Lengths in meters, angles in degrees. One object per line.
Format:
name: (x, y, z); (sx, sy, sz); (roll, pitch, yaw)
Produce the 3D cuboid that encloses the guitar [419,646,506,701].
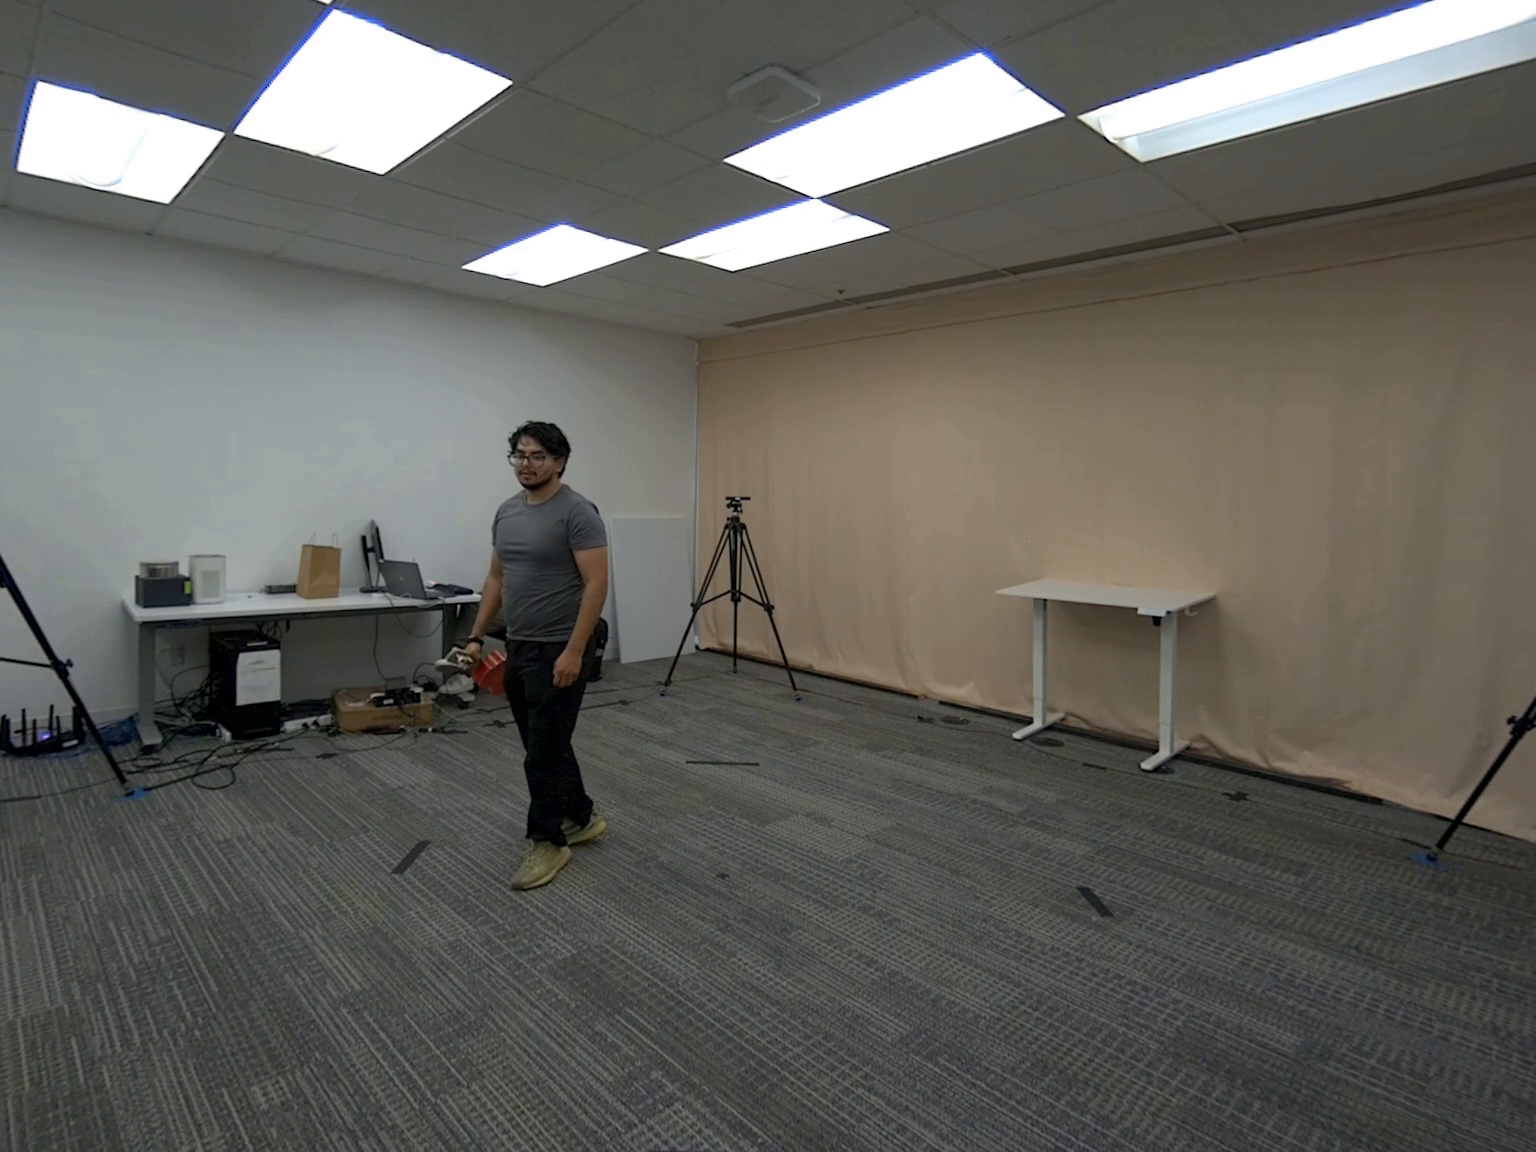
guitar: (-1.102, 0.373, 3.235); (0.072, 0.193, 0.489); (41, 3, 14)
